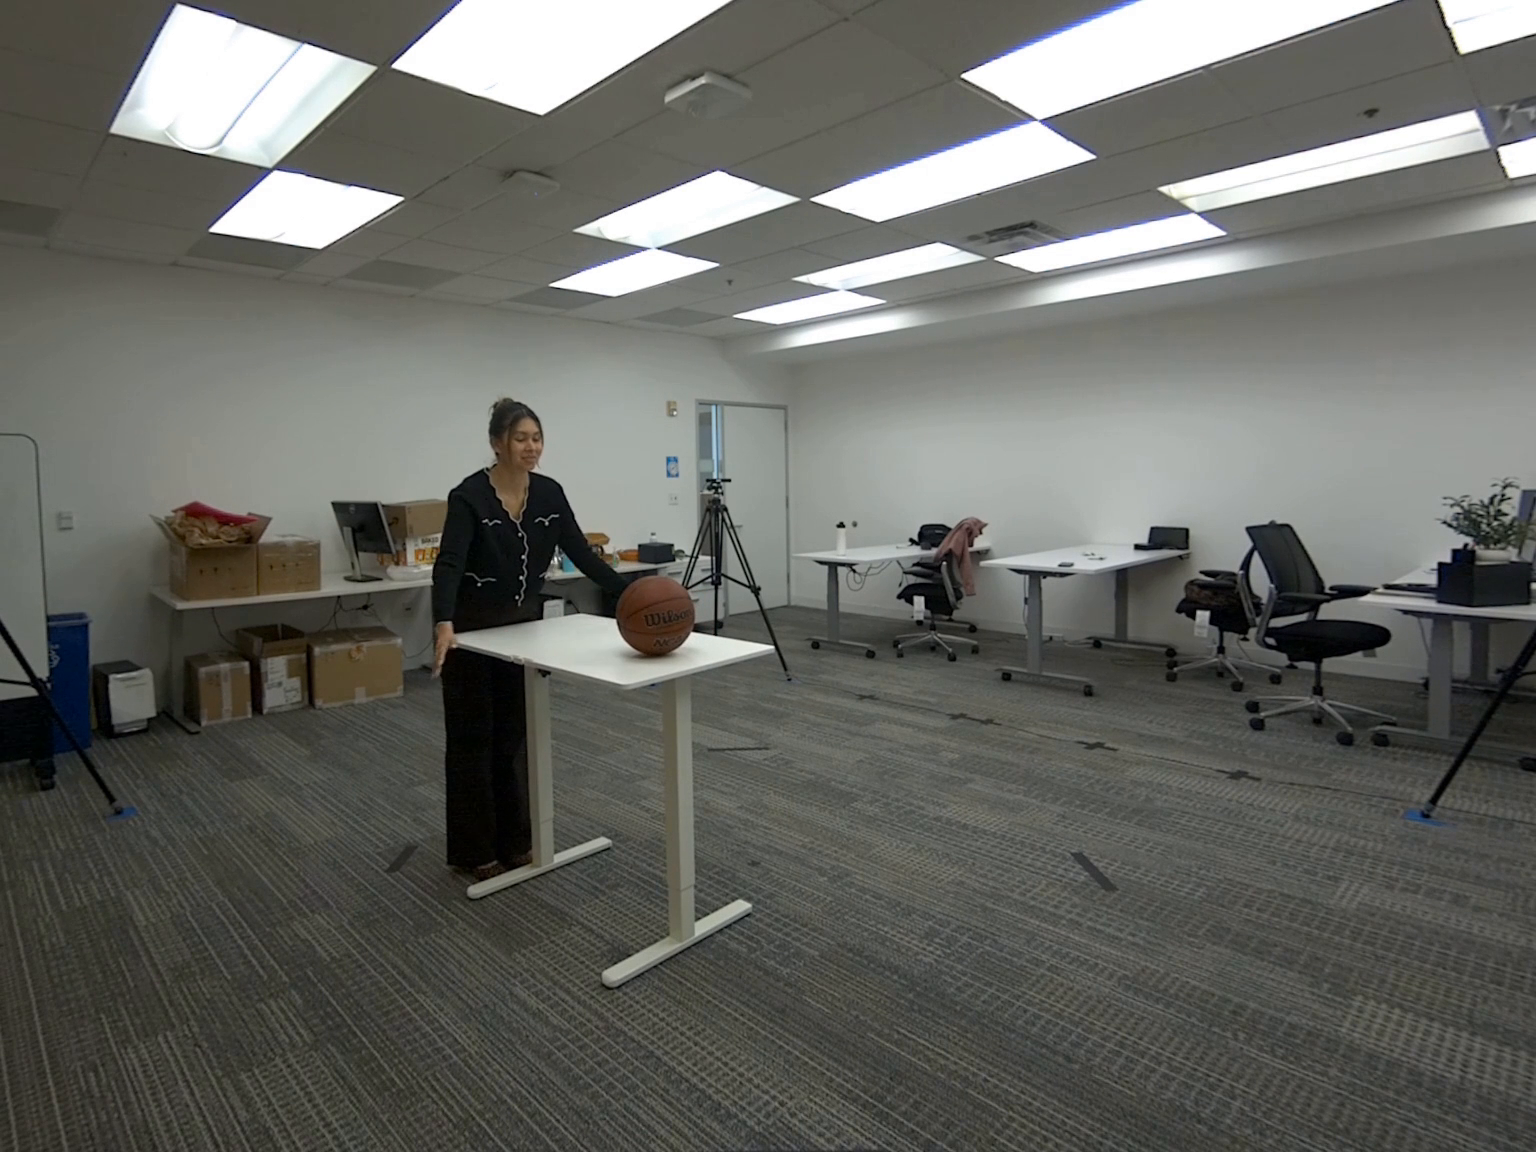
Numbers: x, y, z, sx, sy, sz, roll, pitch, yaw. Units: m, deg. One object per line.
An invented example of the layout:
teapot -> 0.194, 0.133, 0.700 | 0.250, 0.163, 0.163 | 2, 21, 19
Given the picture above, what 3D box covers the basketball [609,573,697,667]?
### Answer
basketball -> -0.337, 0.123, 2.538 | 0.236, 0.235, 0.237 | -1, 5, -2
